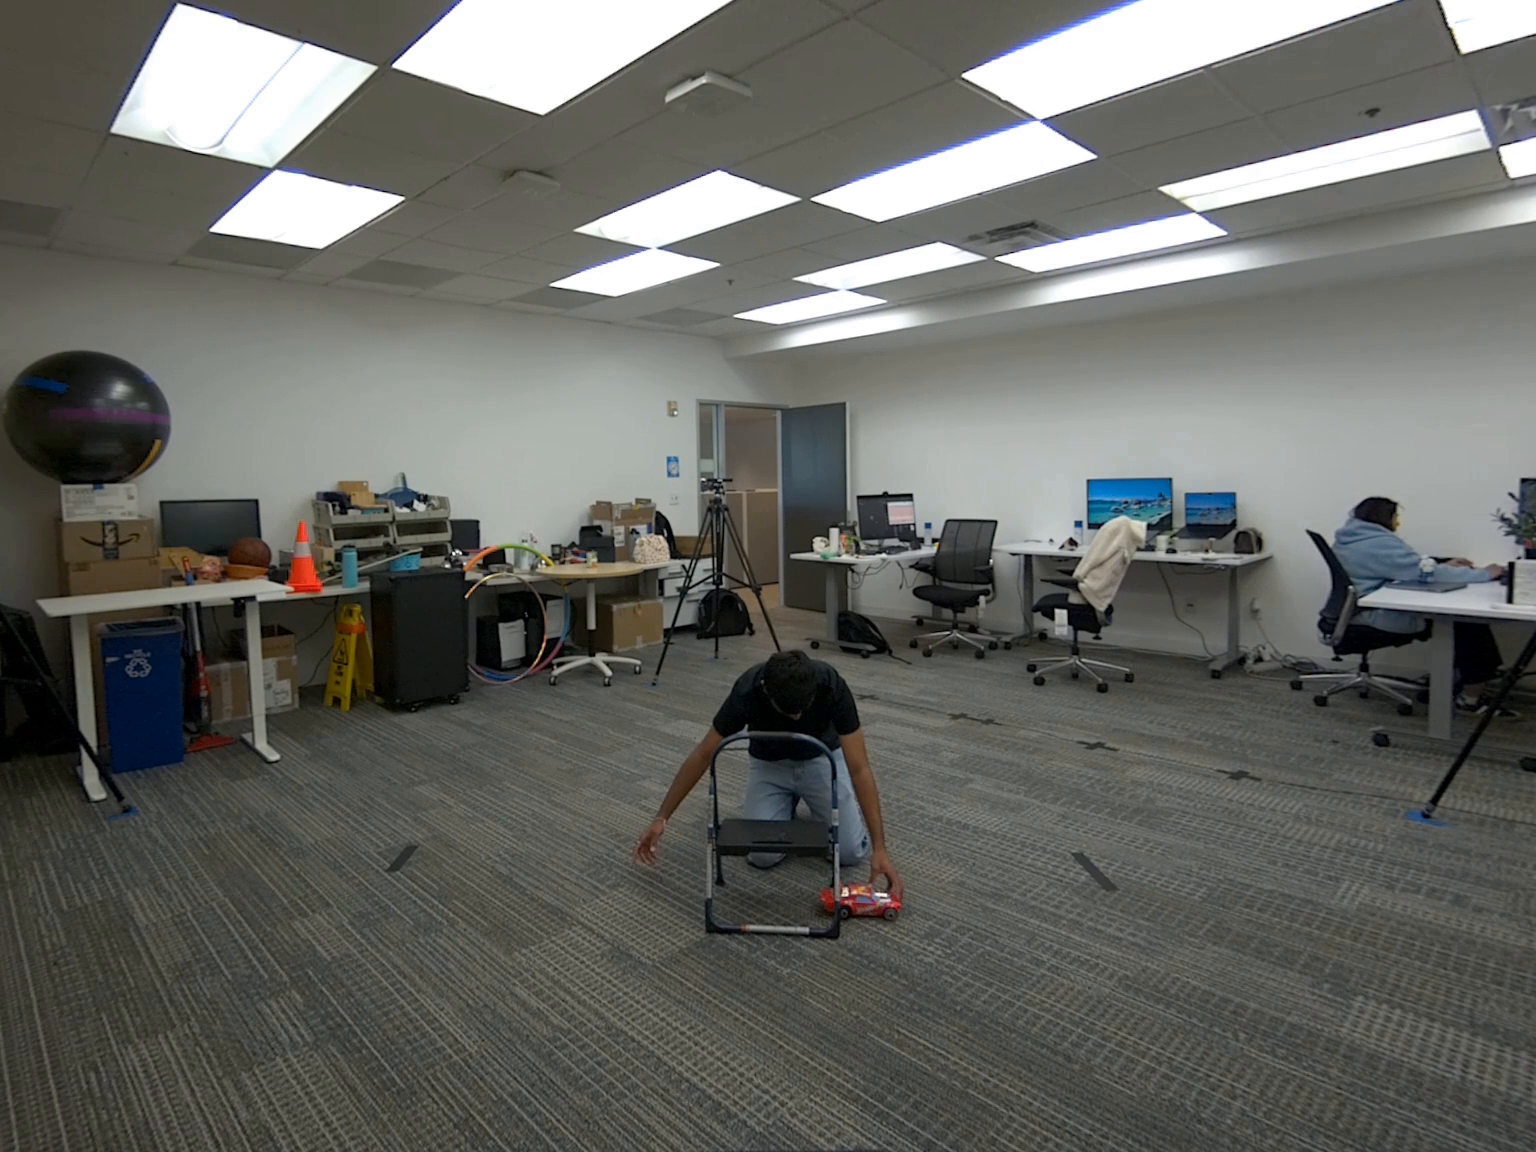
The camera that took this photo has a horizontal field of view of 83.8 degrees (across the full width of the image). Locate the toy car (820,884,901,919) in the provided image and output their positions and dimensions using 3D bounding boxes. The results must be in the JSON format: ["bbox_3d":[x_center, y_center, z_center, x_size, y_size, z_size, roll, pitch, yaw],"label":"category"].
[{"bbox_3d":[0.301,1.063,2.739,0.257,0.083,0.129,14,5,7],"label":"toy car"}]
